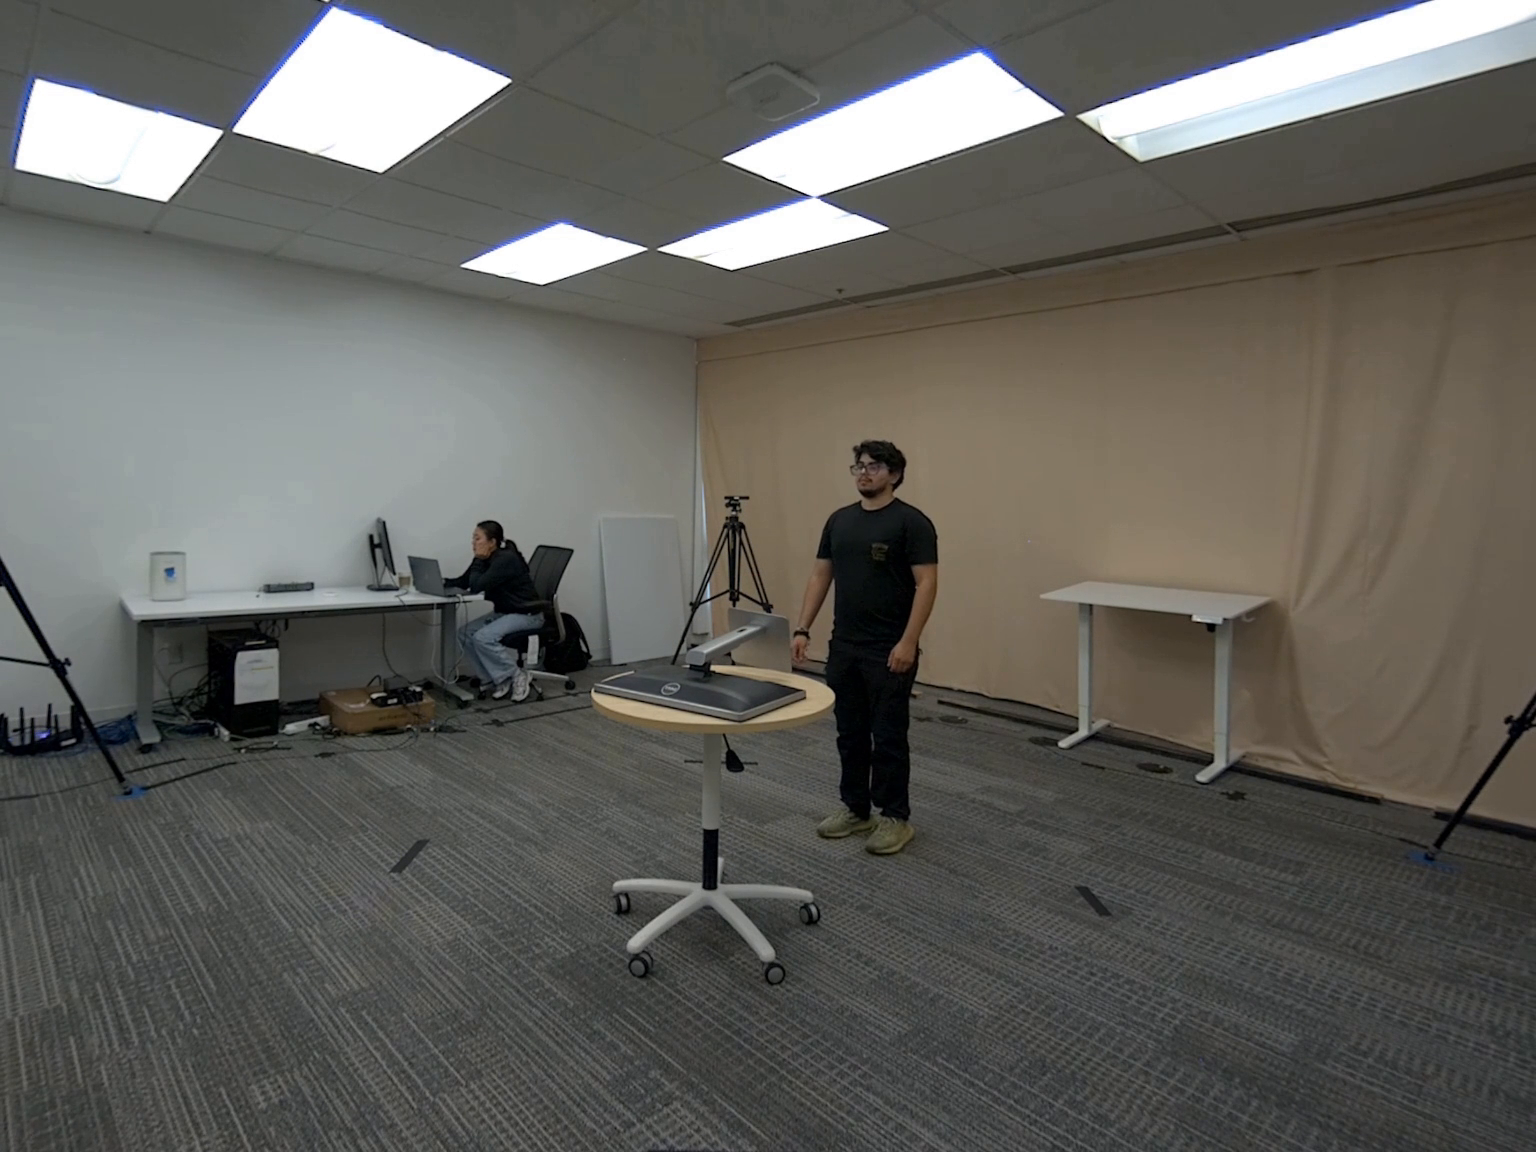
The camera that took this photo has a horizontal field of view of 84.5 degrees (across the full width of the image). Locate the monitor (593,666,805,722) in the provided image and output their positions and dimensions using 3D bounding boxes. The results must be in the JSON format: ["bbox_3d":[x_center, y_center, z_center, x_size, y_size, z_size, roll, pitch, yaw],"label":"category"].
[{"bbox_3d":[-0.177,0.270,2.661,0.579,0.208,0.545,5,12,33],"label":"monitor"}]
